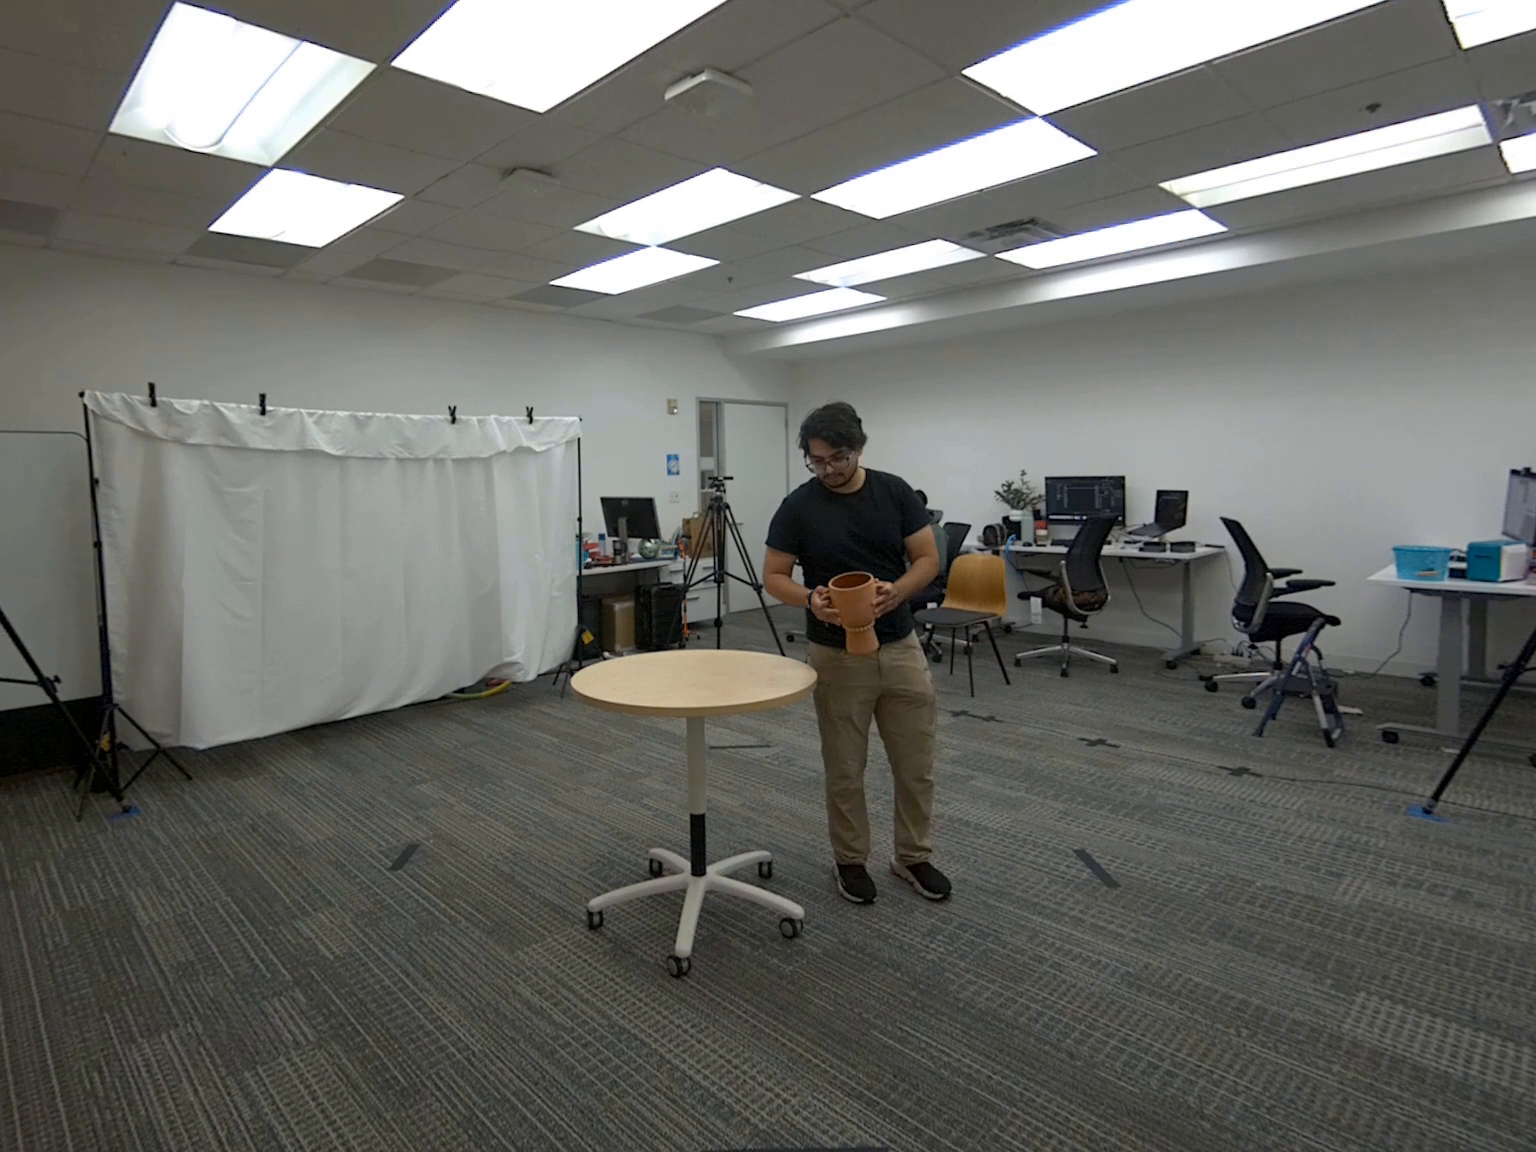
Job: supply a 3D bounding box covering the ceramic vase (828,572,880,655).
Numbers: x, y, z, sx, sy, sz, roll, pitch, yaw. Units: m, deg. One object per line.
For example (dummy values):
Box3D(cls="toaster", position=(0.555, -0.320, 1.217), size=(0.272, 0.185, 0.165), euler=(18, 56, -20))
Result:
Box3D(cls="ceramic vase", position=(0.265, 0.119, 2.545), size=(0.164, 0.216, 0.133), euler=(4, 24, 40))
